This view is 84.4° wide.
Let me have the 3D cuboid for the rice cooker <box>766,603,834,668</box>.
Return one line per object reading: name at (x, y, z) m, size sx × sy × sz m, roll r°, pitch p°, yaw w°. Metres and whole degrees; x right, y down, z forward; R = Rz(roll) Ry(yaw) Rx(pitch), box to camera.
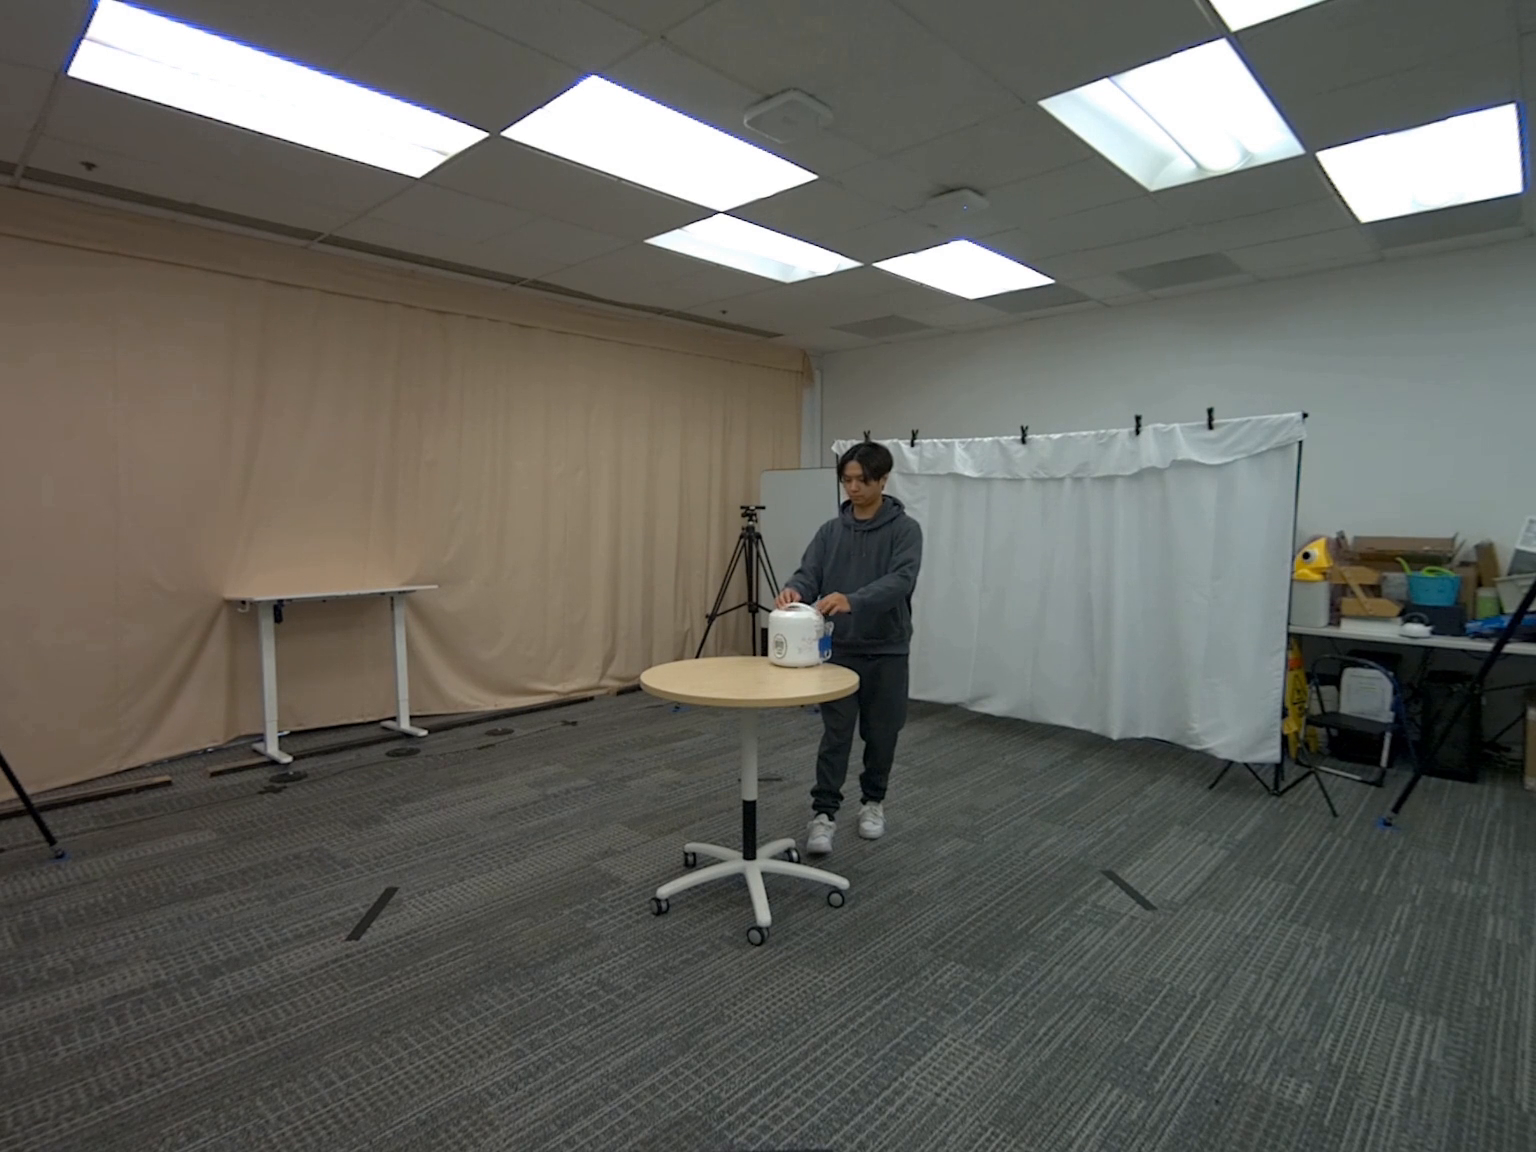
rice cooker at (0.109, 0.218, 3.171) m, size 0.228 × 0.232 × 0.210 m, roll 3°, pitch 2°, yaw 38°
